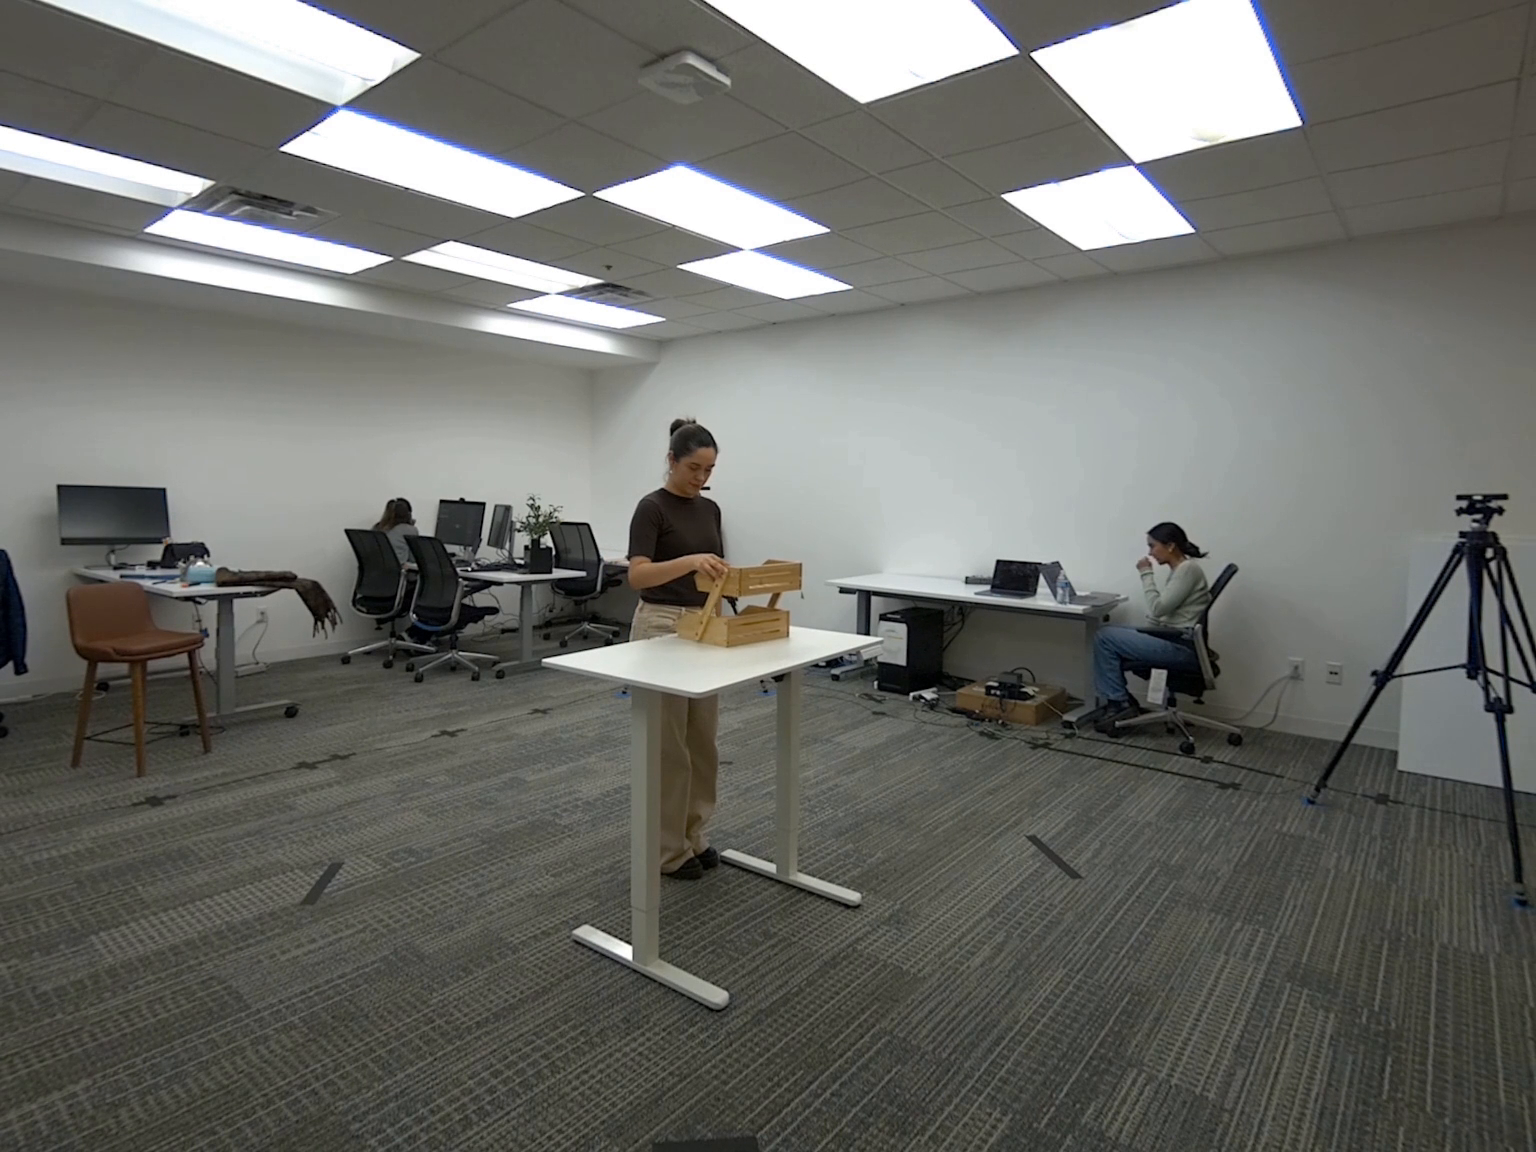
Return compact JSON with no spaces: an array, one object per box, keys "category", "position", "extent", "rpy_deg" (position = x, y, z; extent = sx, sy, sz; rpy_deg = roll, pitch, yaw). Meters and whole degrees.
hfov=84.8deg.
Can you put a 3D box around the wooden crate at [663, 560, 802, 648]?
[{"category":"wooden crate","position":[-0.105,0.073,2.864],"extent":[0.313,0.272,0.315],"rpy_deg":[7,8,44]}]
